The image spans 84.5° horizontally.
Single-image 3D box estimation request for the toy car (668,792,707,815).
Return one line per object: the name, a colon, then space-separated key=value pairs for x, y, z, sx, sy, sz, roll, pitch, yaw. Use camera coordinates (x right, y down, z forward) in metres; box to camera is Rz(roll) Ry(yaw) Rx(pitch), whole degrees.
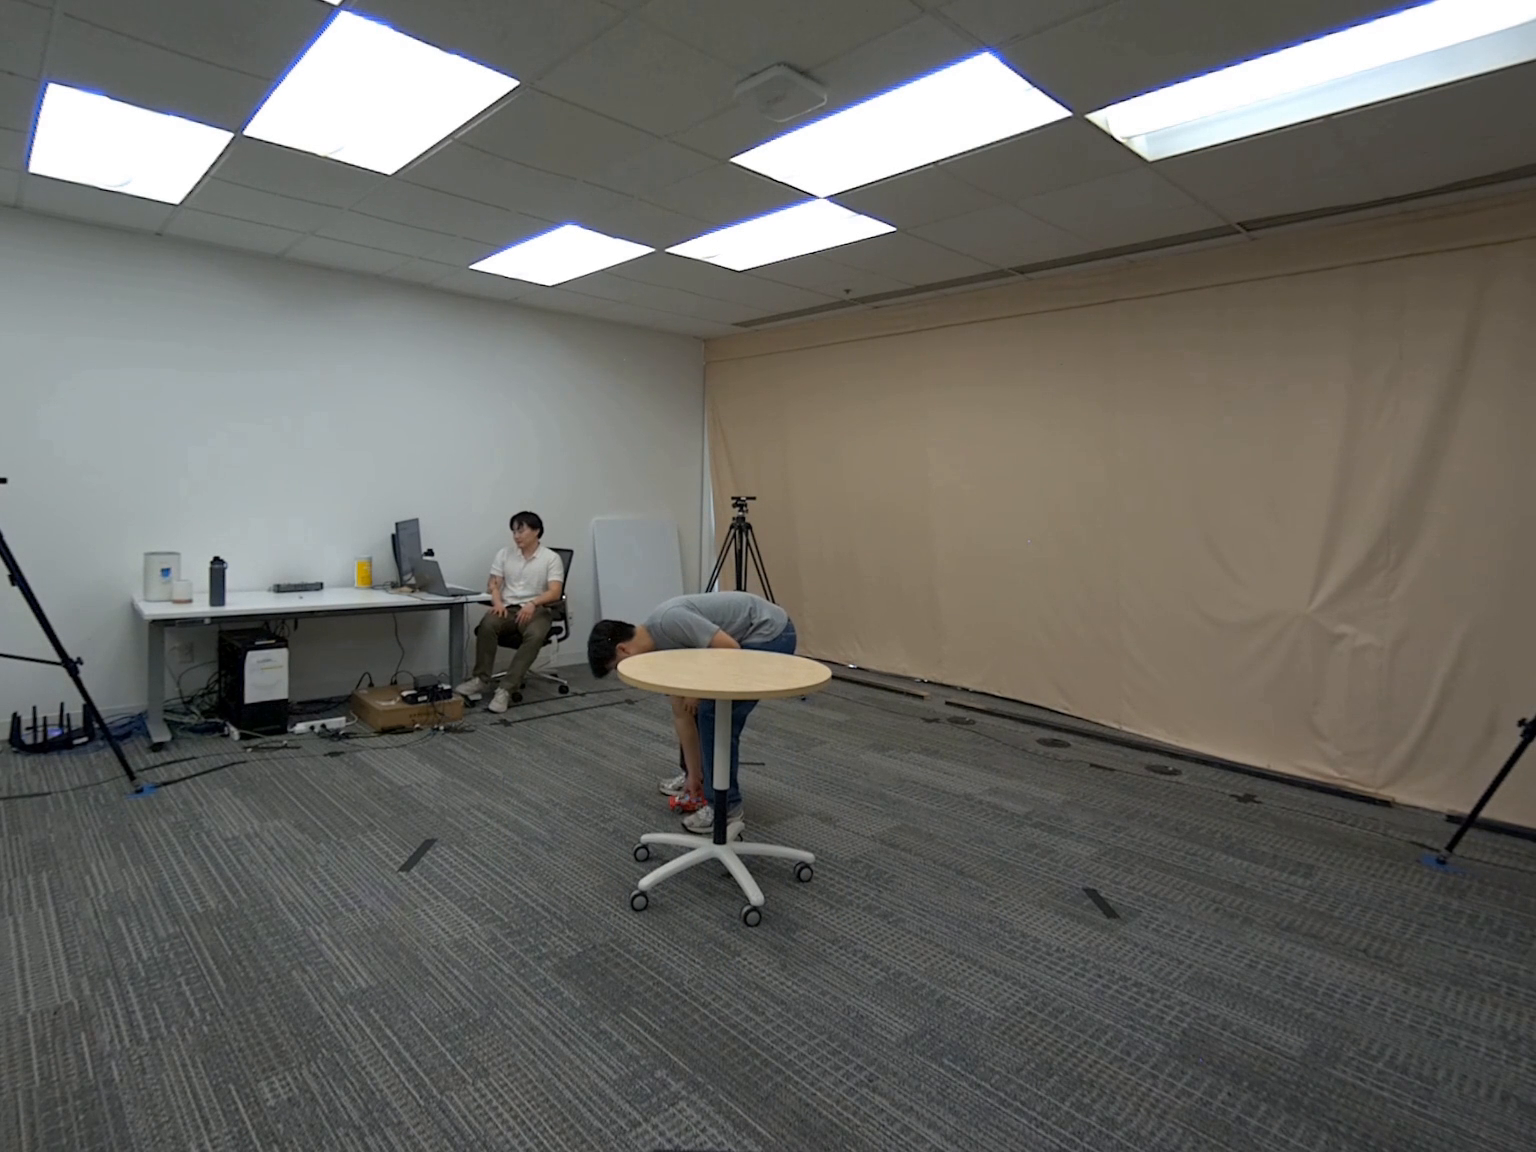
toy car: x=-0.326 y=1.014 z=3.763 sx=0.253 sy=0.083 sz=0.131 roll=-11 pitch=3 yaw=-9
